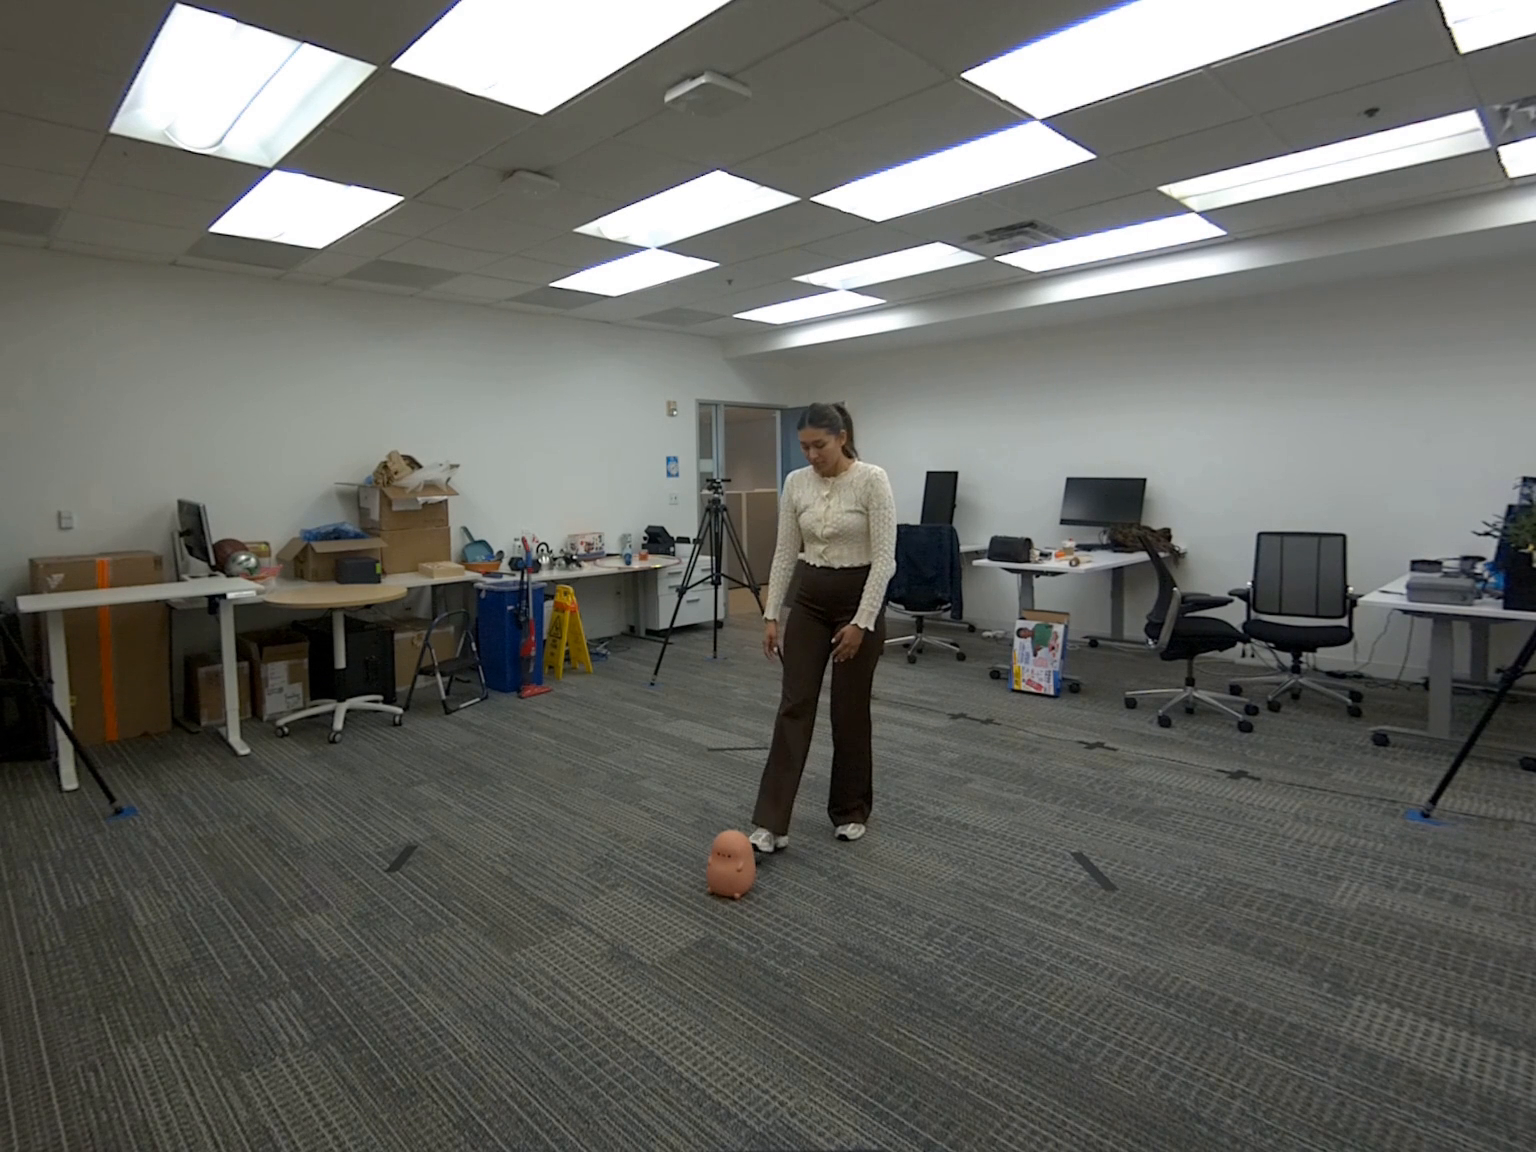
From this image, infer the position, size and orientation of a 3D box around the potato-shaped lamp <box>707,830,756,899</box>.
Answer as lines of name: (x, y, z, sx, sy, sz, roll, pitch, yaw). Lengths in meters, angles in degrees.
potato-shaped lamp: (-0.121, 0.971, 2.903, 0.169, 0.197, 0.167, 1, 4, 30)
